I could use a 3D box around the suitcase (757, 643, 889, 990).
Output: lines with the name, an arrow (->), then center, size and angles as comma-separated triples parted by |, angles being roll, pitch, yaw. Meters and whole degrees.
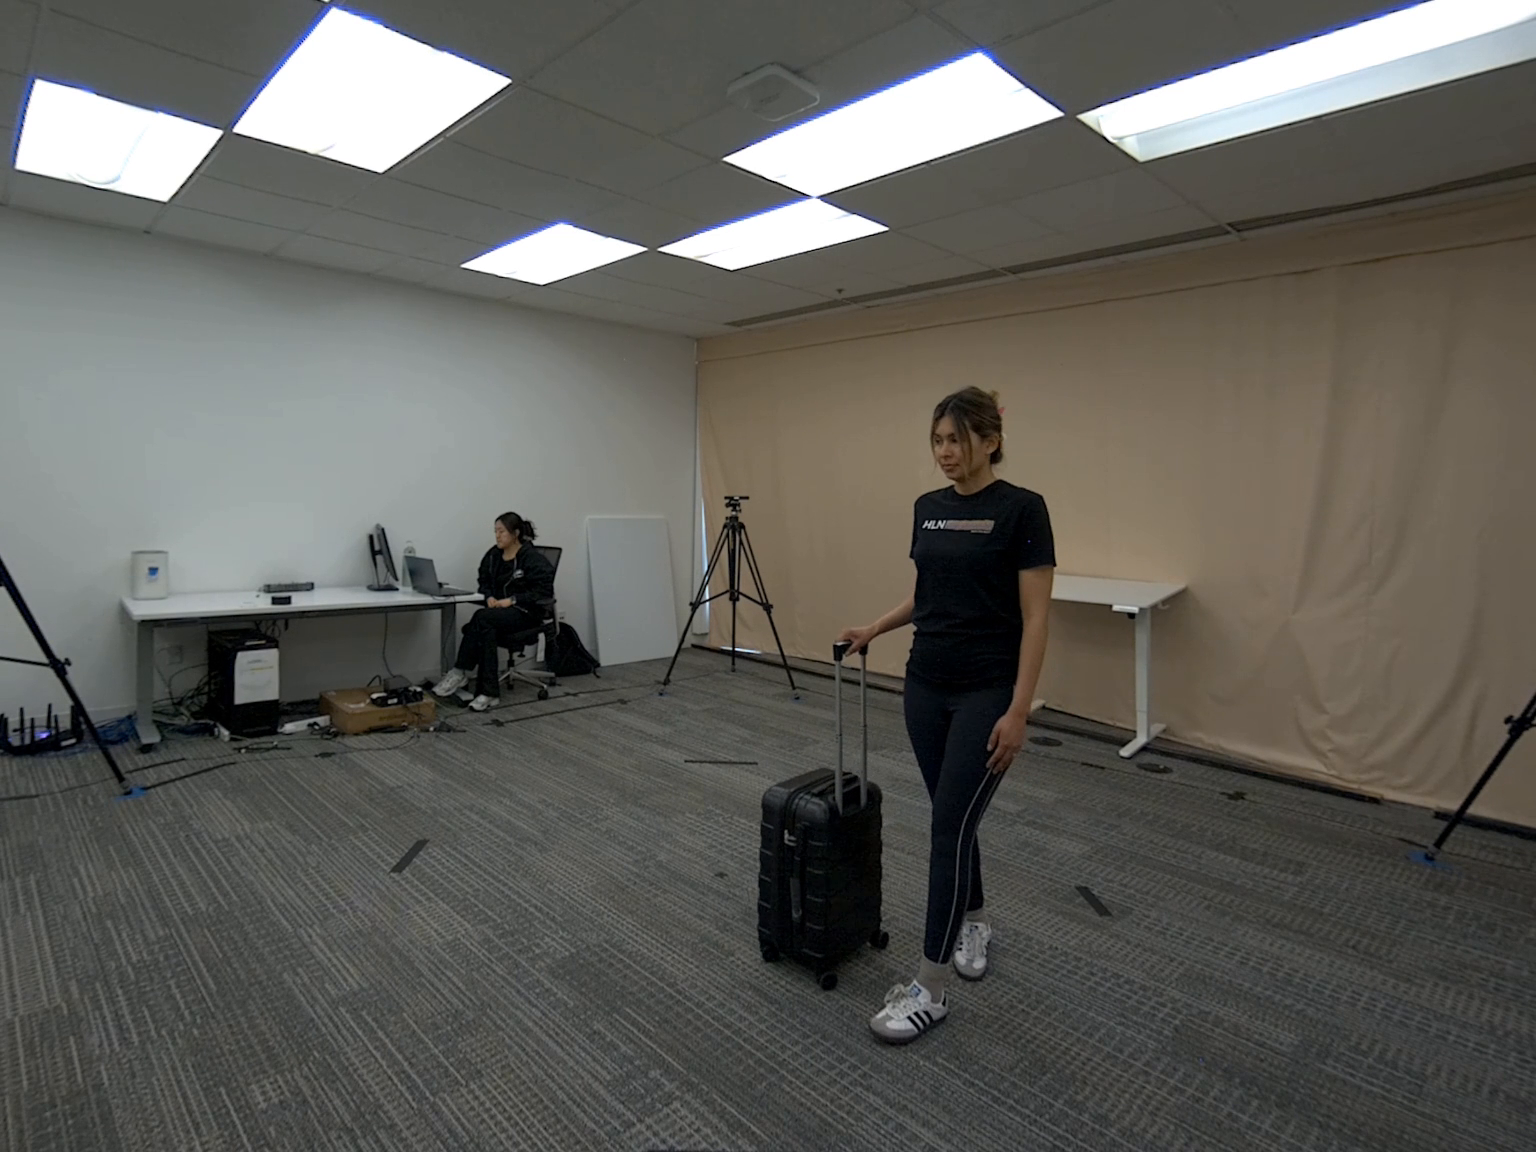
suitcase -> 0.153, 0.688, 2.551 | 0.263, 0.976, 0.376 | 1, 5, 43
